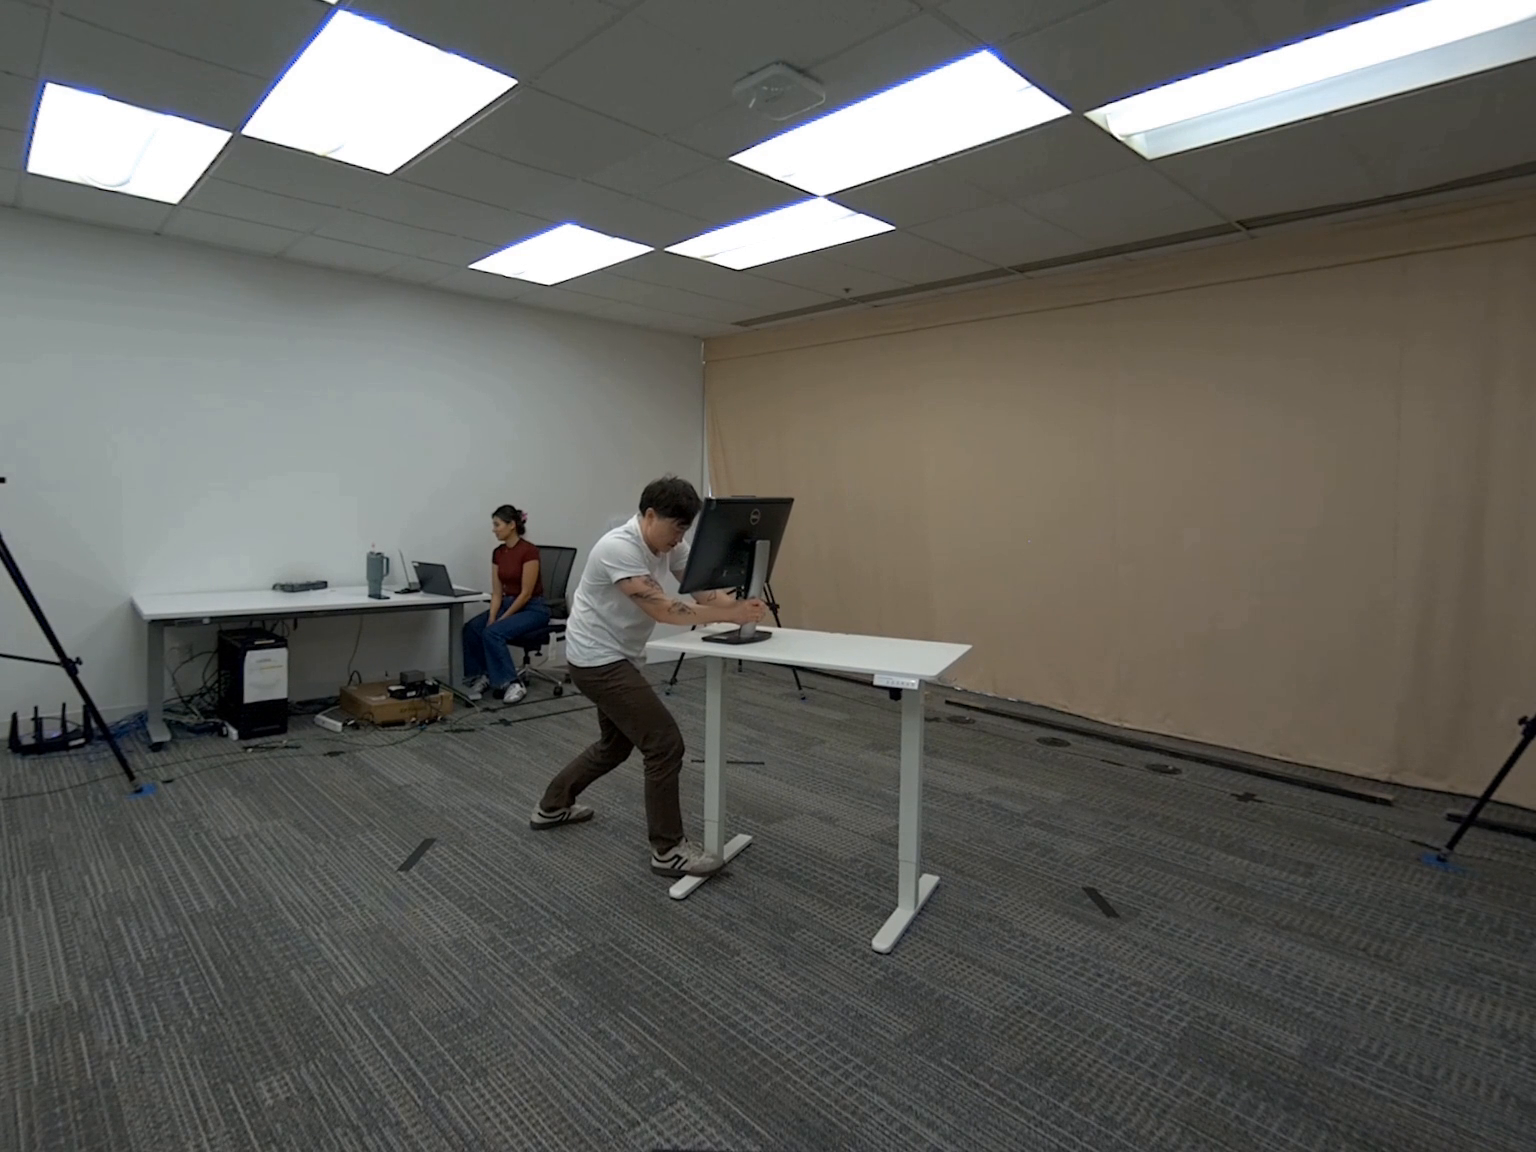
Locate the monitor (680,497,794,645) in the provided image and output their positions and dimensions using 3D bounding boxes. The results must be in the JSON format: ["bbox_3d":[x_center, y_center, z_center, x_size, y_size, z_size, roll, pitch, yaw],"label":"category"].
[{"bbox_3d":[-0.094,-0.025,3.038,0.191,0.520,0.528,8,8,32],"label":"monitor"}]
